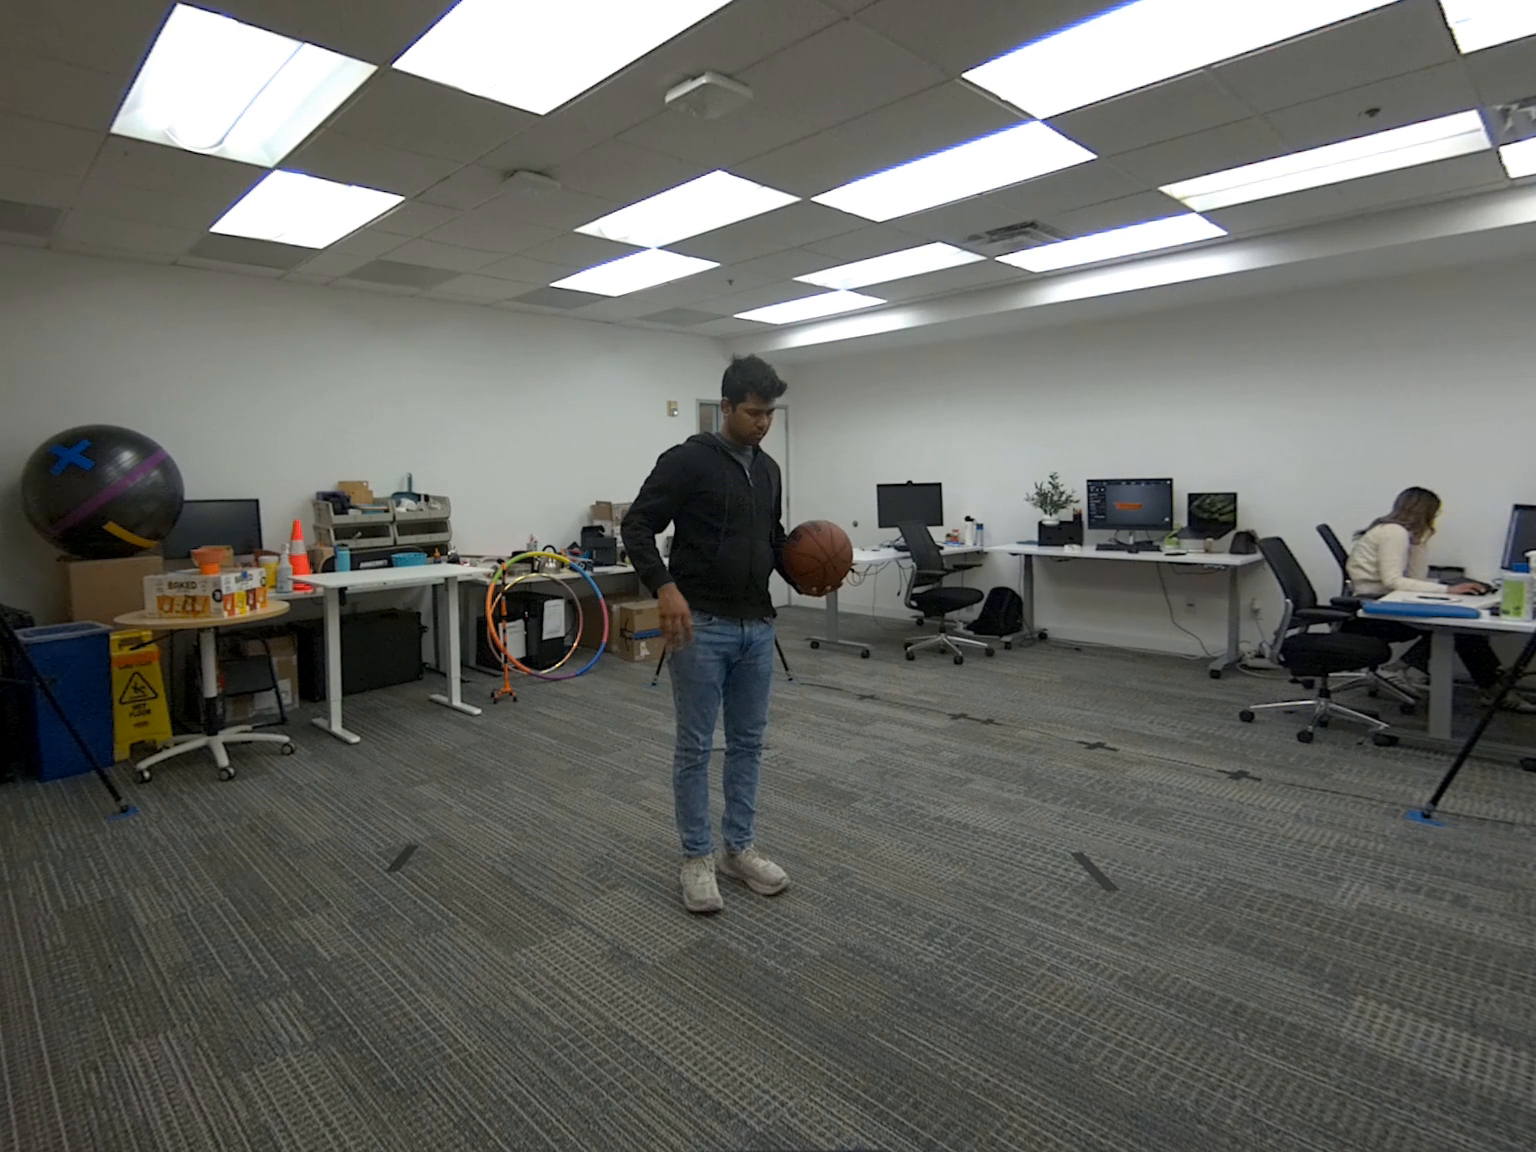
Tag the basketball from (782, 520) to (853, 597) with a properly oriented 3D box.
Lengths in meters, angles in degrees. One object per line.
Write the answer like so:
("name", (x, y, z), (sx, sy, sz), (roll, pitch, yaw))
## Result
("basketball", (0.145, -0.086, 2.896), (0.236, 0.235, 0.237), (-1, 5, -2))
